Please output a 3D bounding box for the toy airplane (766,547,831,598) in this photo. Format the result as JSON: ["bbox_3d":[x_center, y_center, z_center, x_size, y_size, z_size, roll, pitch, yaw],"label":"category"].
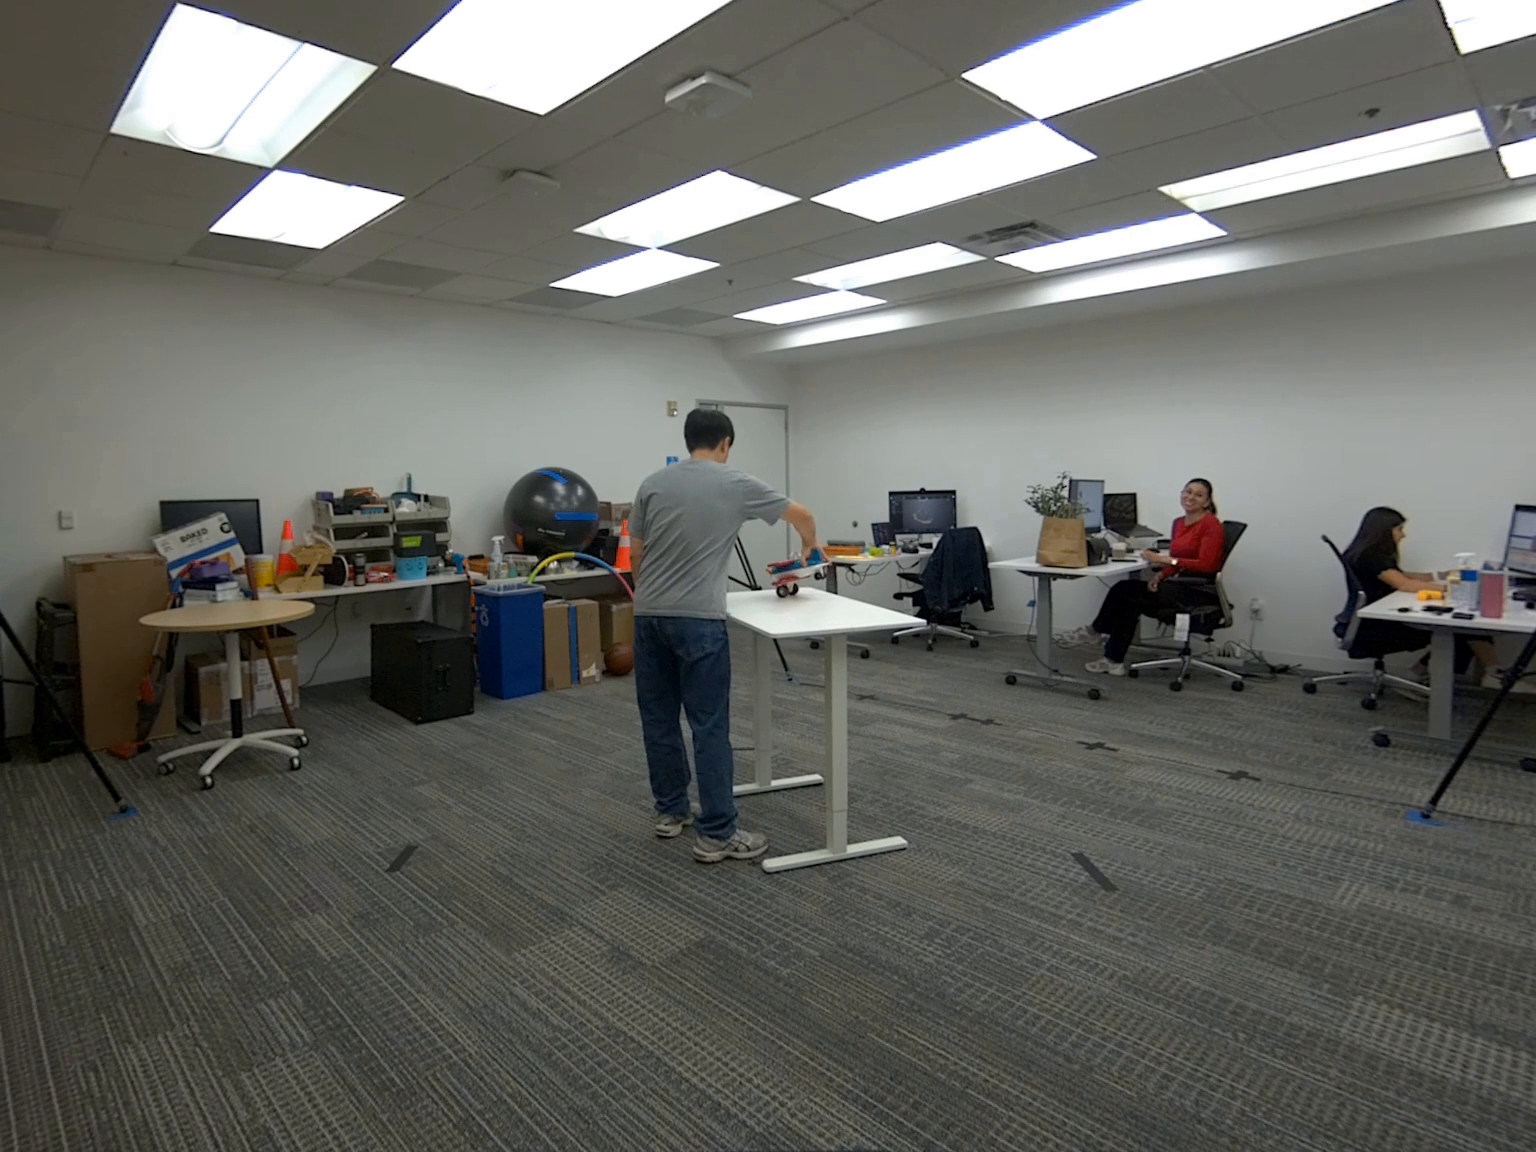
[{"bbox_3d":[0.138,-0.017,3.696,0.260,0.158,0.247,-25,-8,4],"label":"toy airplane"}]
